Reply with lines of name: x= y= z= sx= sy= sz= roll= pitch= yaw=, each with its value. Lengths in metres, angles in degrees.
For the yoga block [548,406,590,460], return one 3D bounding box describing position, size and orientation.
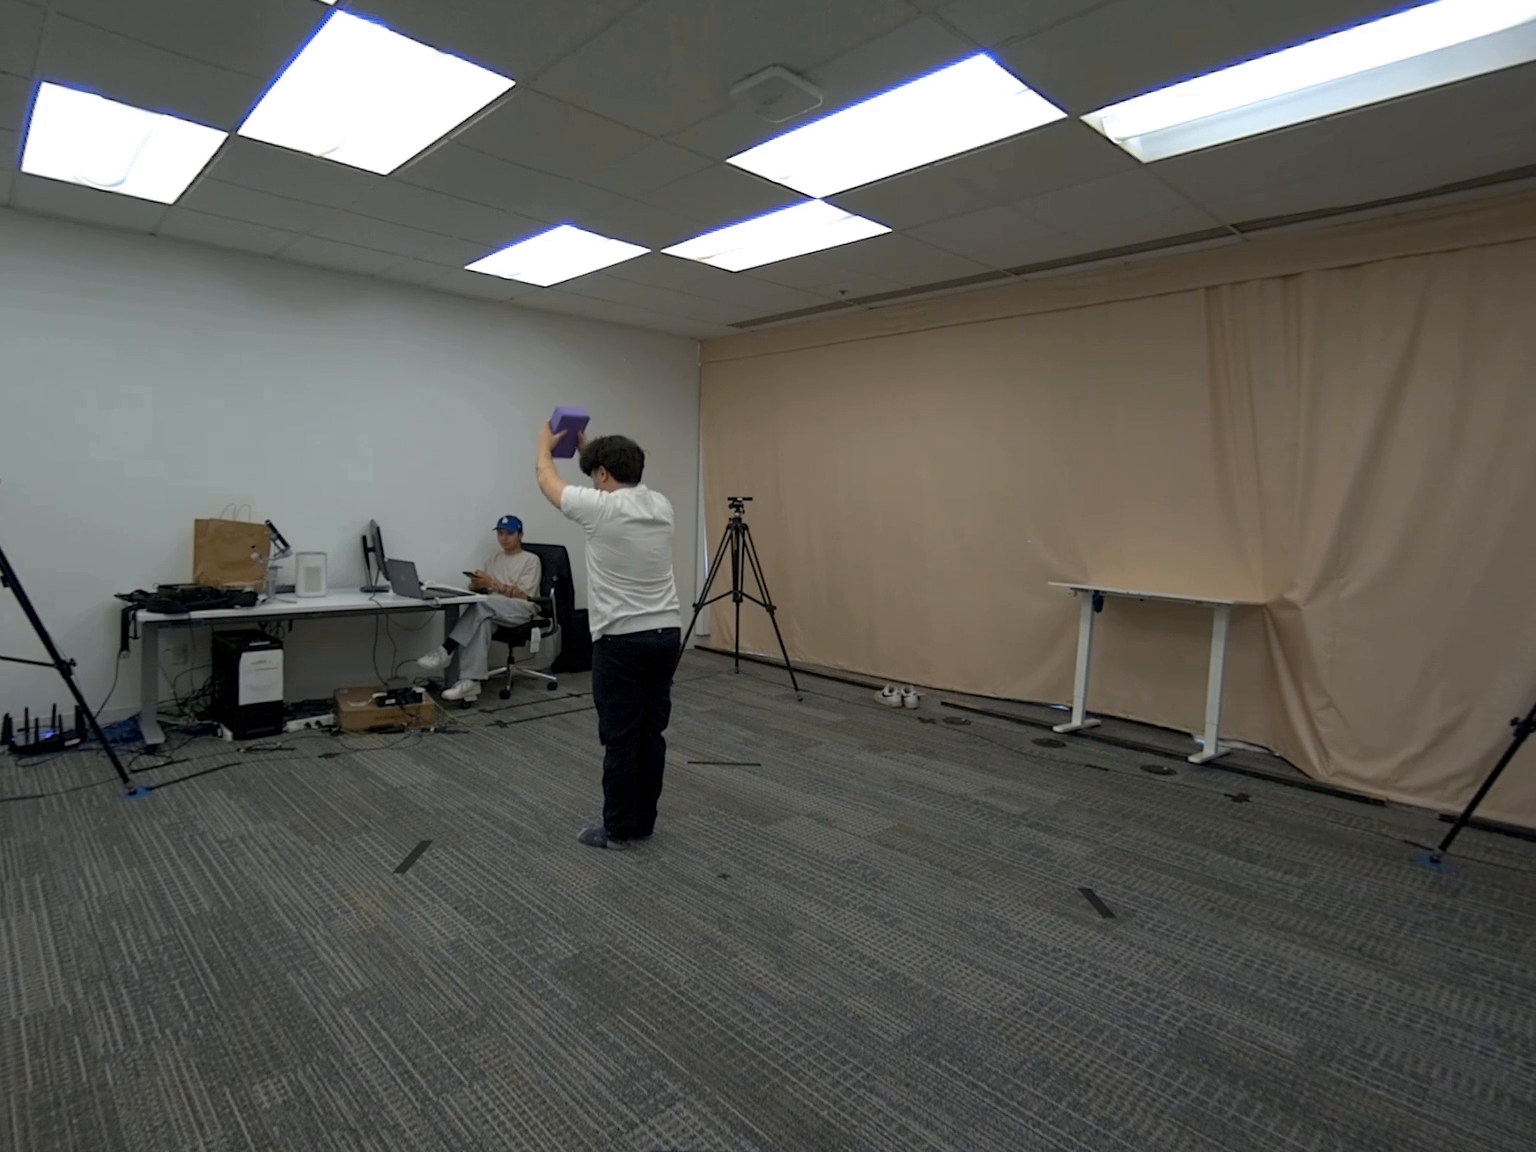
yoga block: x=-0.880 y=-0.605 z=3.658 sx=0.145 sy=0.228 sz=0.078 roll=-3 pitch=47 yaw=-44
